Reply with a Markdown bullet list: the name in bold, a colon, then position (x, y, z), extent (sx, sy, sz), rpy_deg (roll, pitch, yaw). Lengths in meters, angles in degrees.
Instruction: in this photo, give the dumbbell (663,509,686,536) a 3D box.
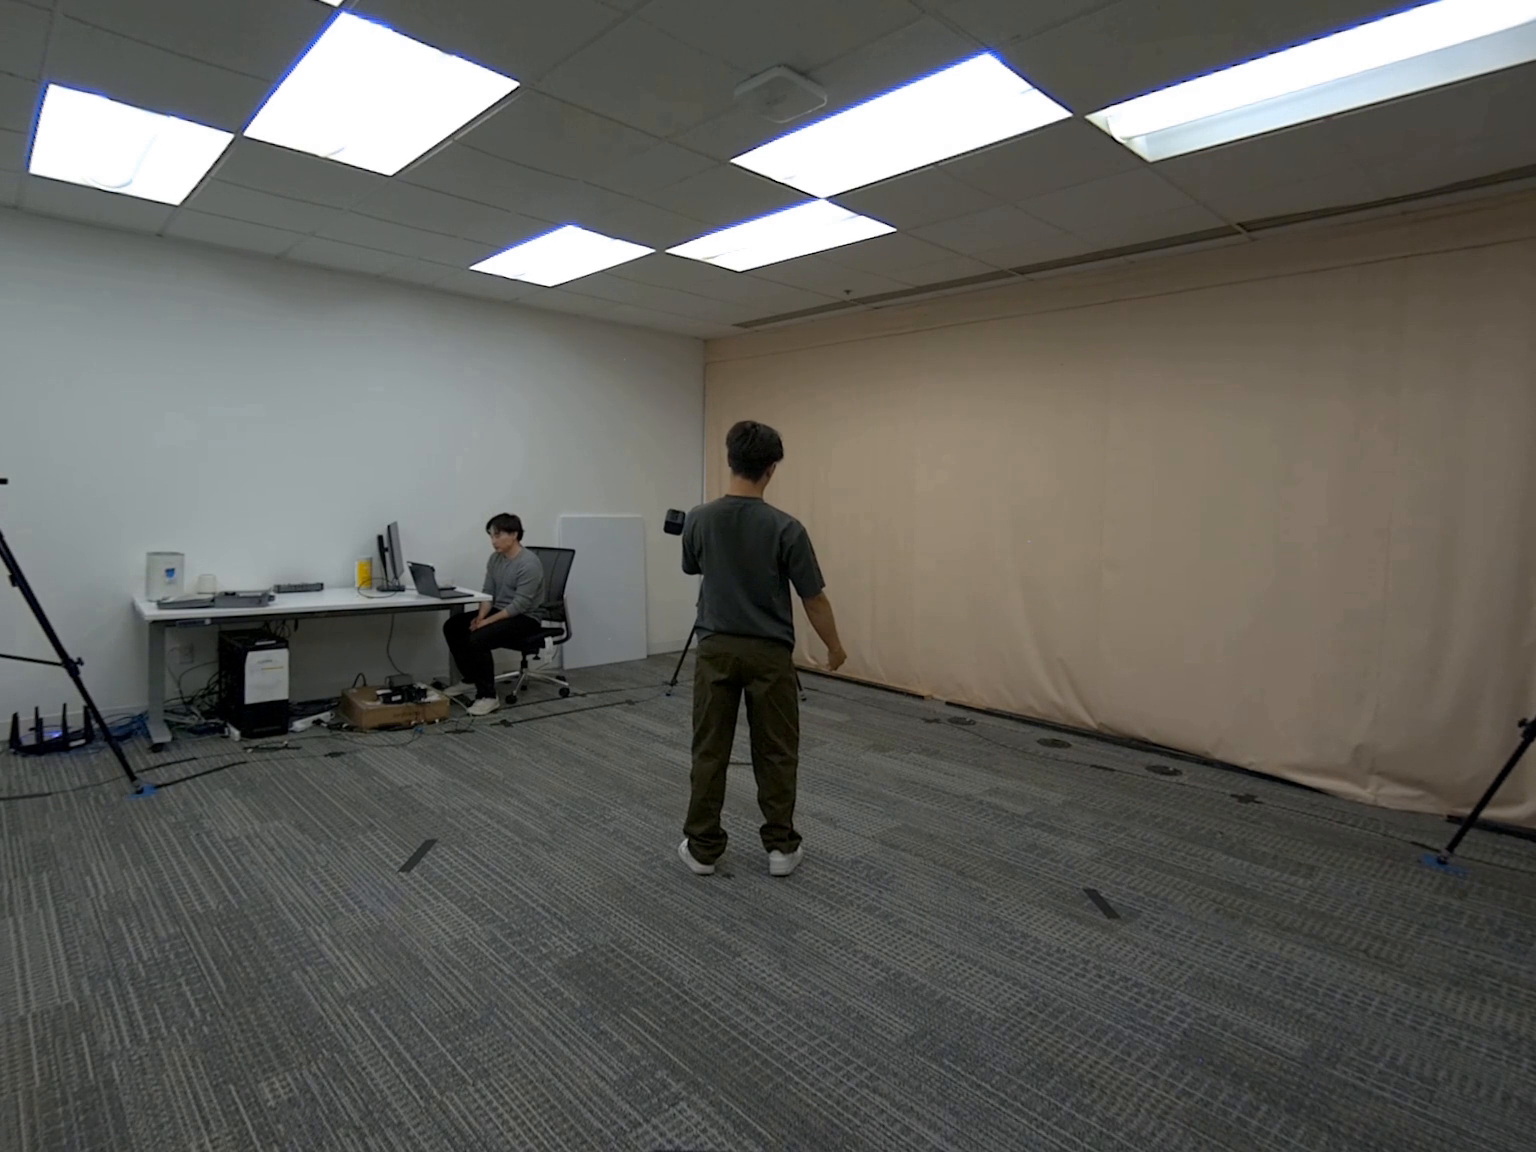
- **dumbbell**: position (-0.300, -0.215, 3.597), extent (0.293, 0.121, 0.110), rpy_deg (10, 32, -3)
